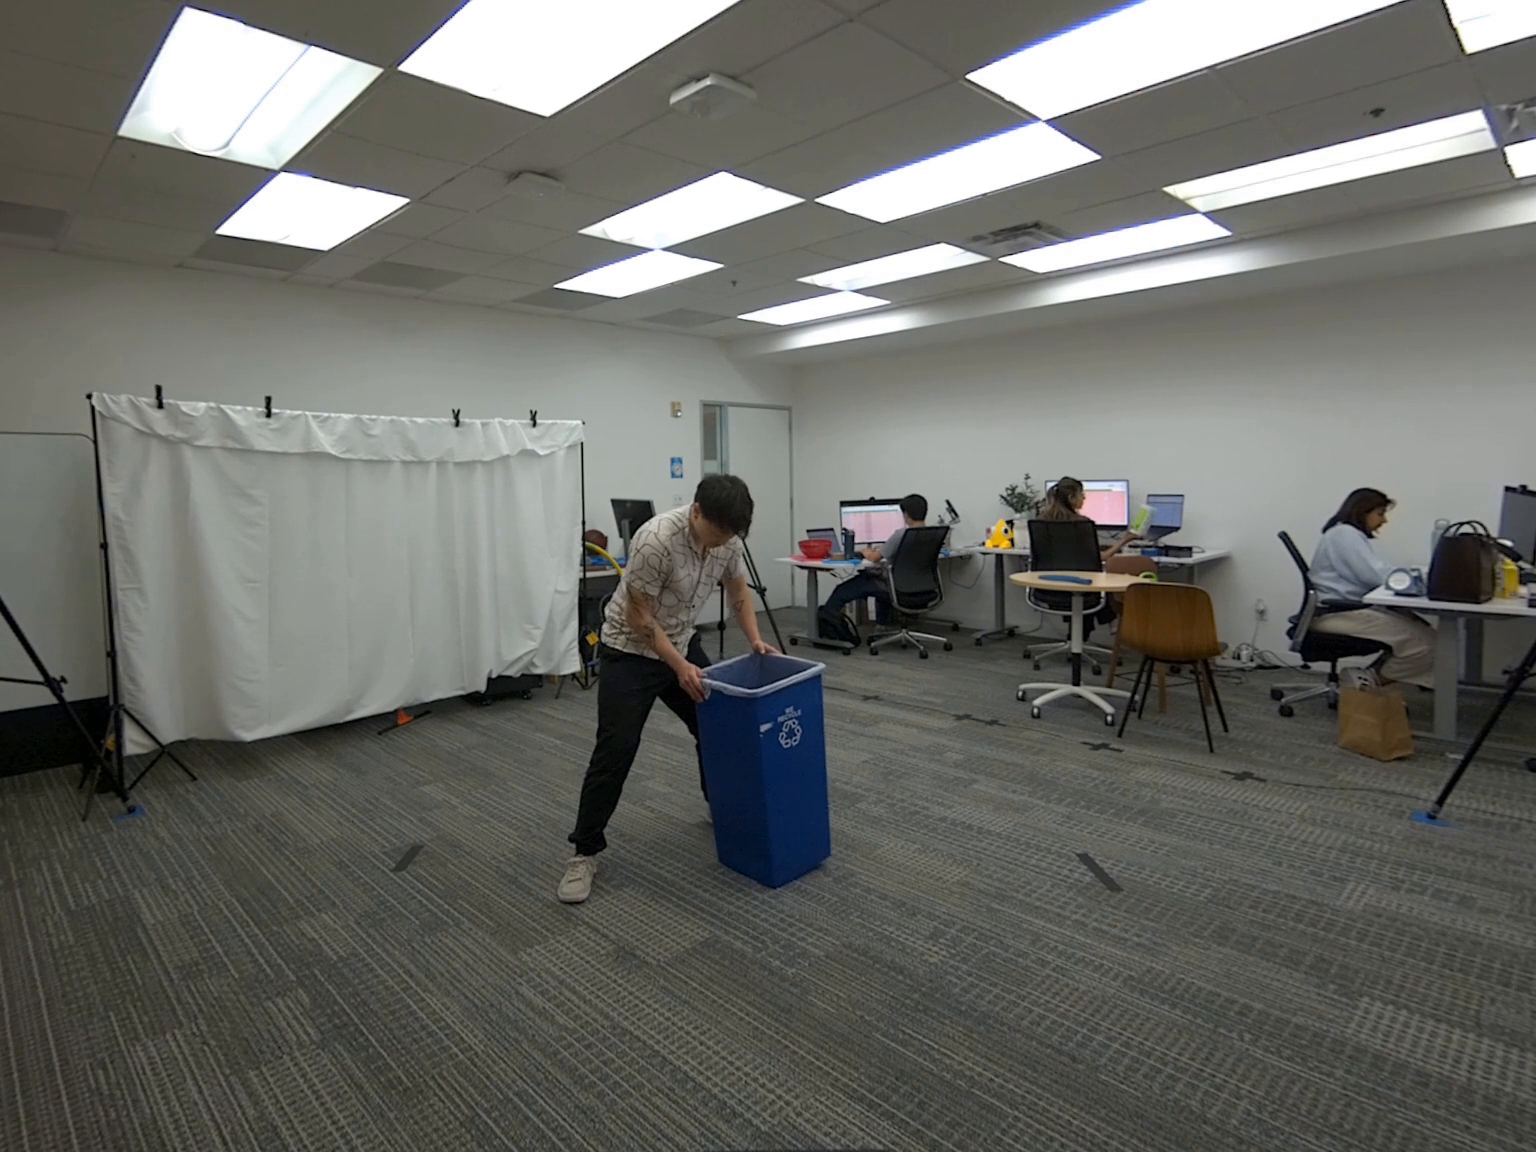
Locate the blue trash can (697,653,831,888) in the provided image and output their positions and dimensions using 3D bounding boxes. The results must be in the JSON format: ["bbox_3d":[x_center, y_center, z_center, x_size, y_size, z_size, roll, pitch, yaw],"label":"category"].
[{"bbox_3d":[-0.001,0.683,3.061,0.369,0.708,0.385,-12,10,-40],"label":"blue trash can"}]
